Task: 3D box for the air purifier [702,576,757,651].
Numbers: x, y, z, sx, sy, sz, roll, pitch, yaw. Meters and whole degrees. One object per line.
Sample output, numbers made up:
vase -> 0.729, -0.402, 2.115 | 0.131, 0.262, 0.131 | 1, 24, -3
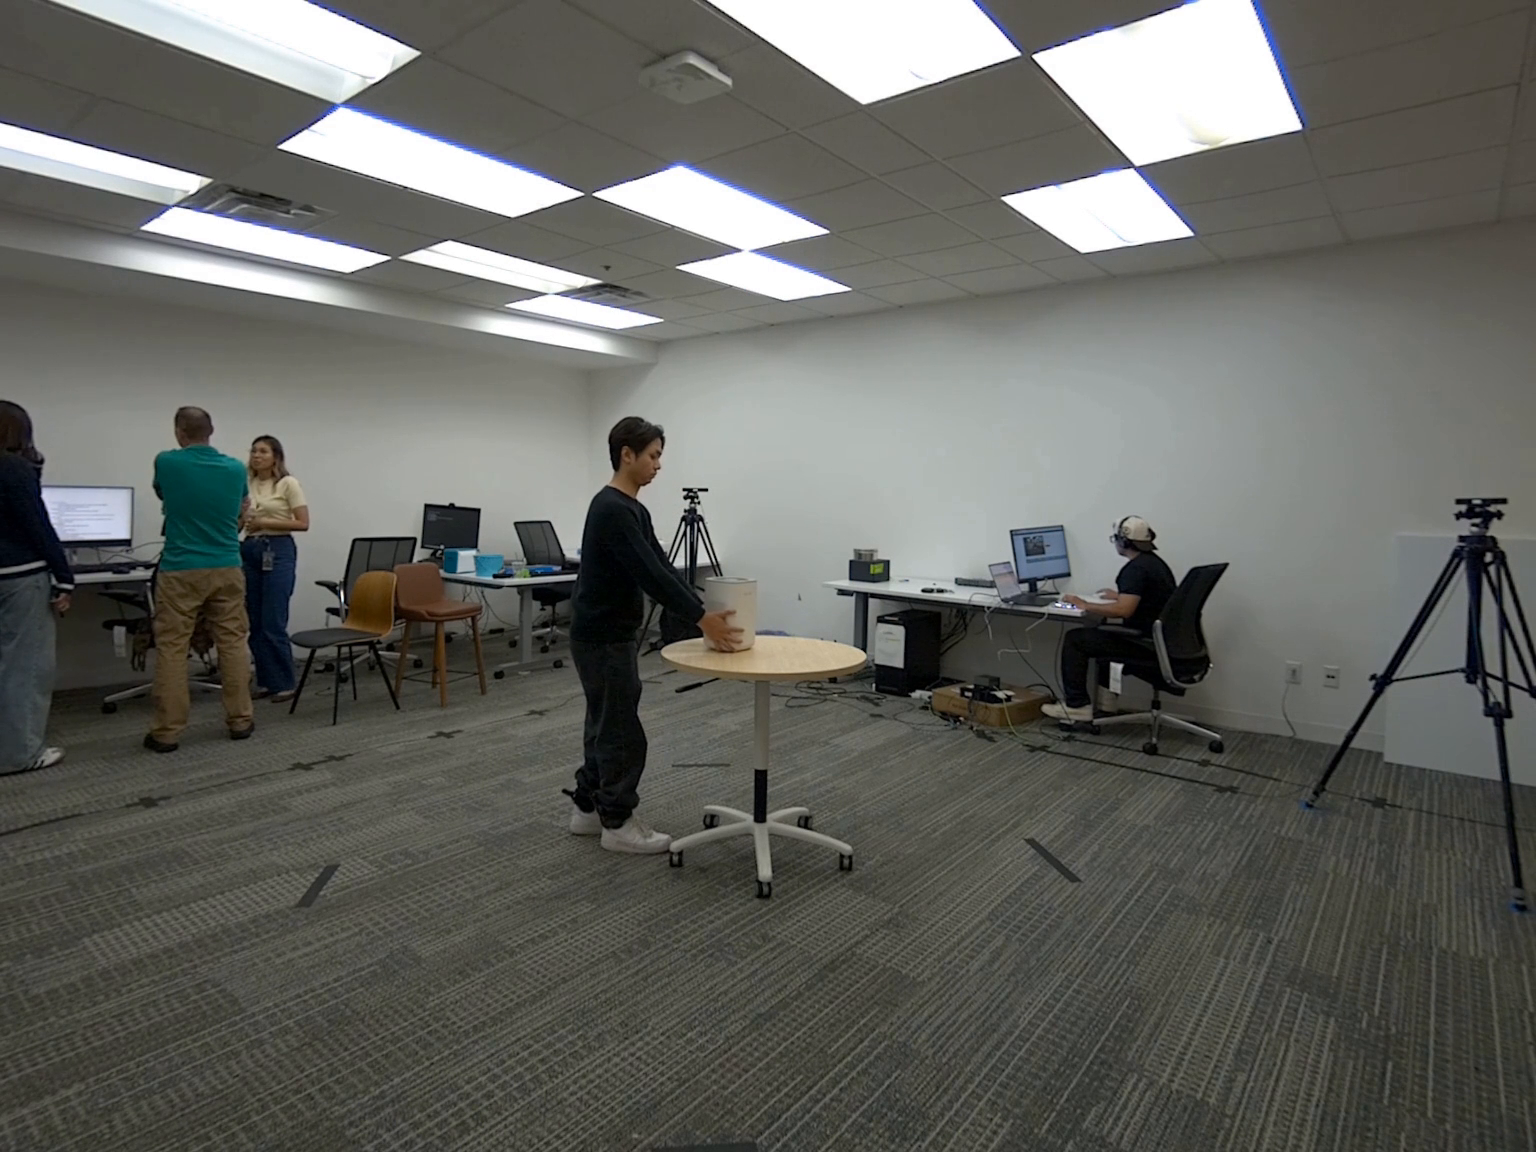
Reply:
air purifier -> -0.157, 0.142, 3.245 | 0.177, 0.265, 0.166 | 4, 4, 35
